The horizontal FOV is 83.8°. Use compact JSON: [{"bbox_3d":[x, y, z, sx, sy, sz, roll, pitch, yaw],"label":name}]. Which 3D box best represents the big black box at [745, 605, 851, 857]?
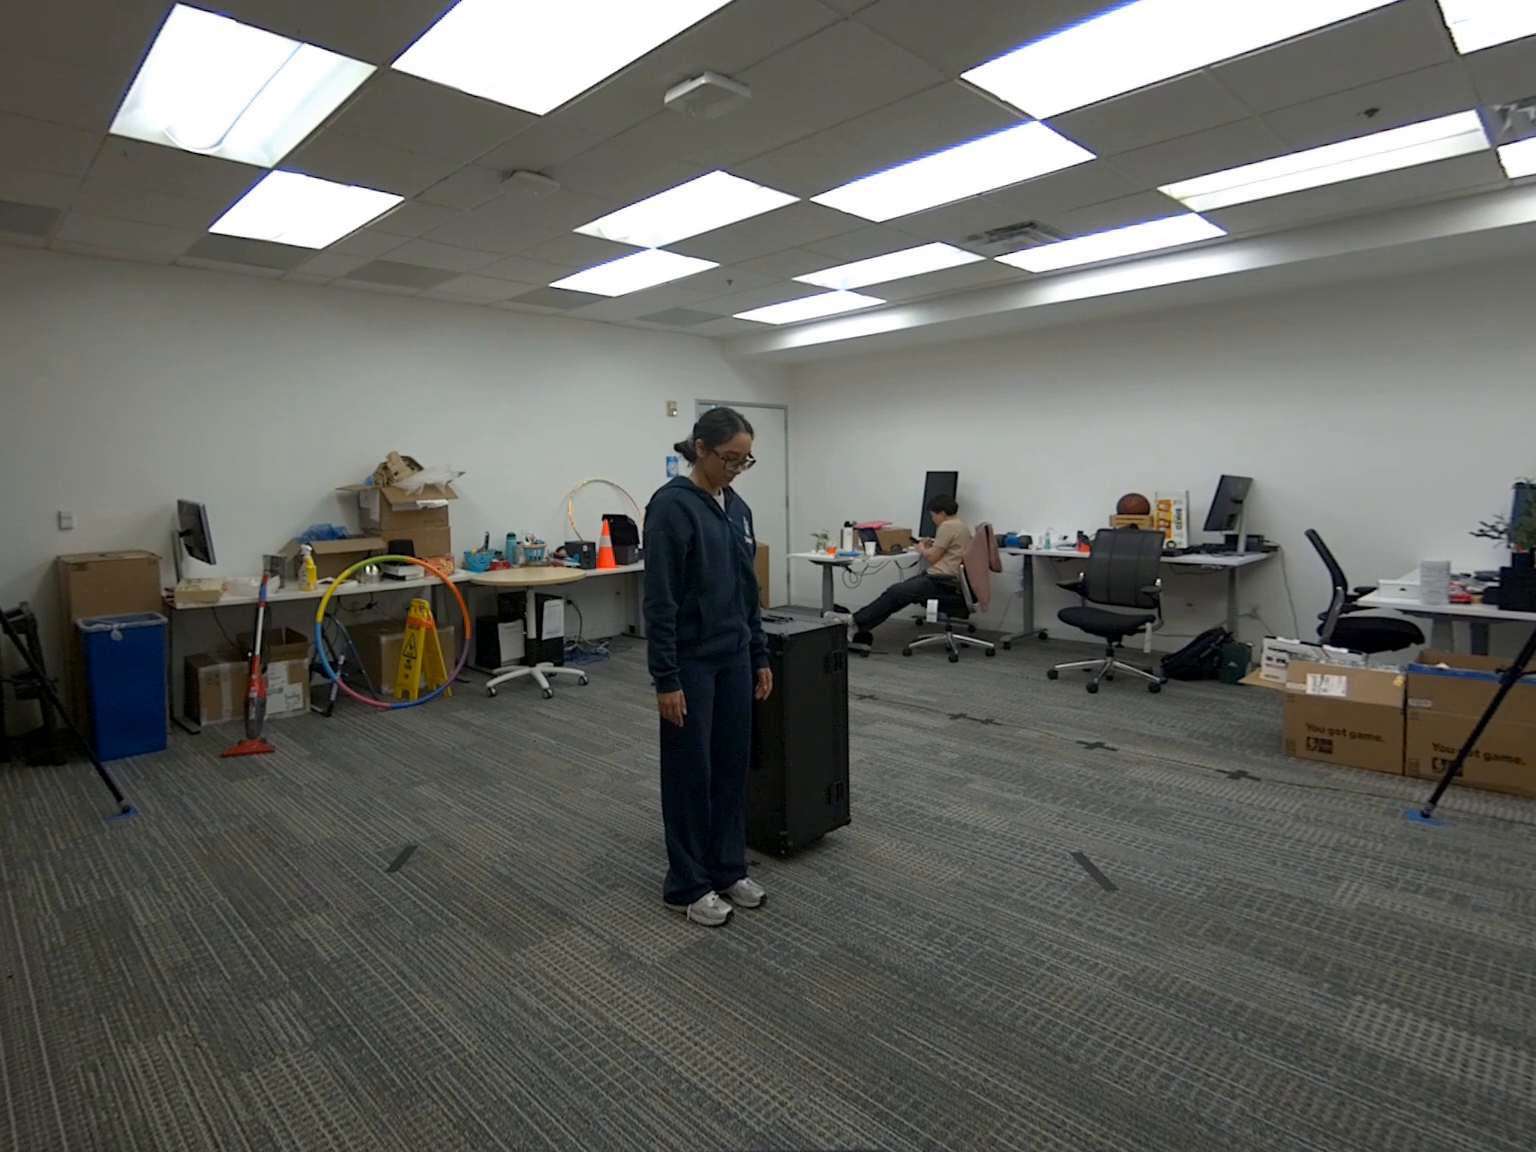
[{"bbox_3d":[0.016,0.600,3.303,0.386,0.857,0.537,-7,7,-43],"label":"big black box"}]
